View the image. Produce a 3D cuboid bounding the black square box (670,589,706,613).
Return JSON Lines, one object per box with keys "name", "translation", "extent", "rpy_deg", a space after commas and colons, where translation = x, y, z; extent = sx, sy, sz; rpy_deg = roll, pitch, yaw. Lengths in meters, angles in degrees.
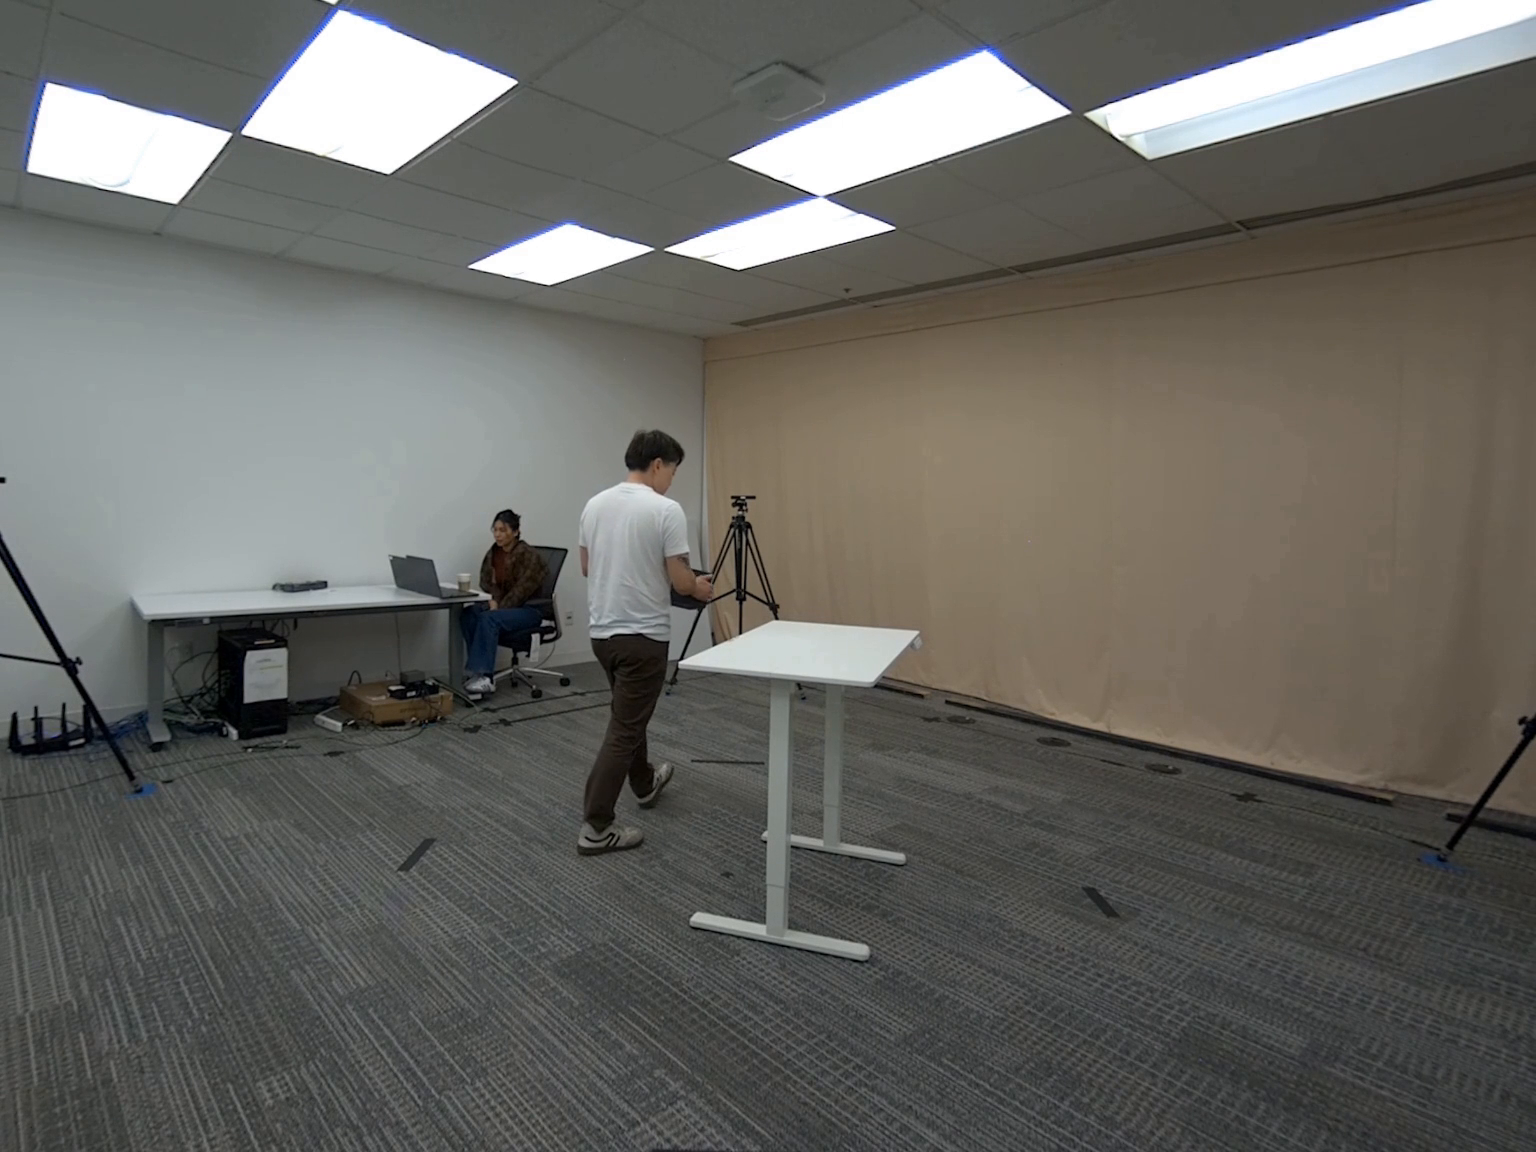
{"name": "black square box", "translation": [-0.394, 0.043, 3.691], "extent": [0.213, 0.157, 0.231], "rpy_deg": [14, -8, -19]}
